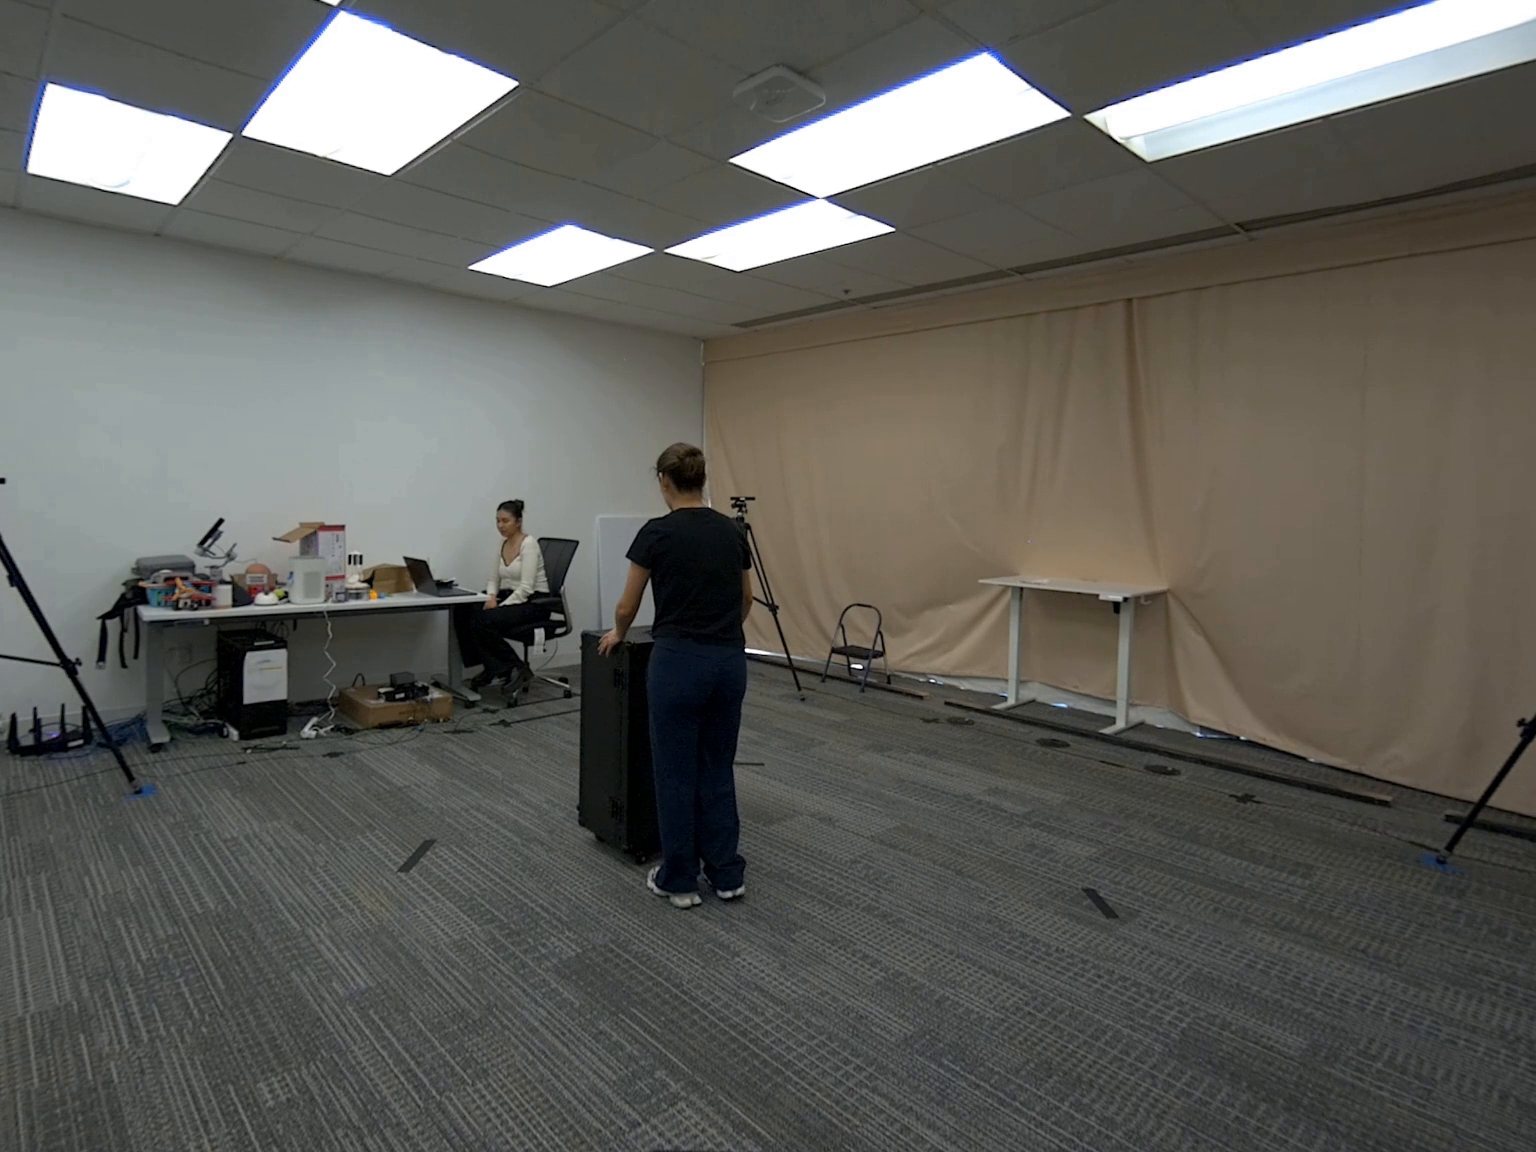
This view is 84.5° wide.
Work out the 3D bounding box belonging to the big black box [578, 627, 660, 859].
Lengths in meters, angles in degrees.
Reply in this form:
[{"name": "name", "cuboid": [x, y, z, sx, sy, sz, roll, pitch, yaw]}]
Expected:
[{"name": "big black box", "cuboid": [-0.472, 0.652, 3.369, 0.509, 0.860, 0.406, -1, 3, -41]}]
